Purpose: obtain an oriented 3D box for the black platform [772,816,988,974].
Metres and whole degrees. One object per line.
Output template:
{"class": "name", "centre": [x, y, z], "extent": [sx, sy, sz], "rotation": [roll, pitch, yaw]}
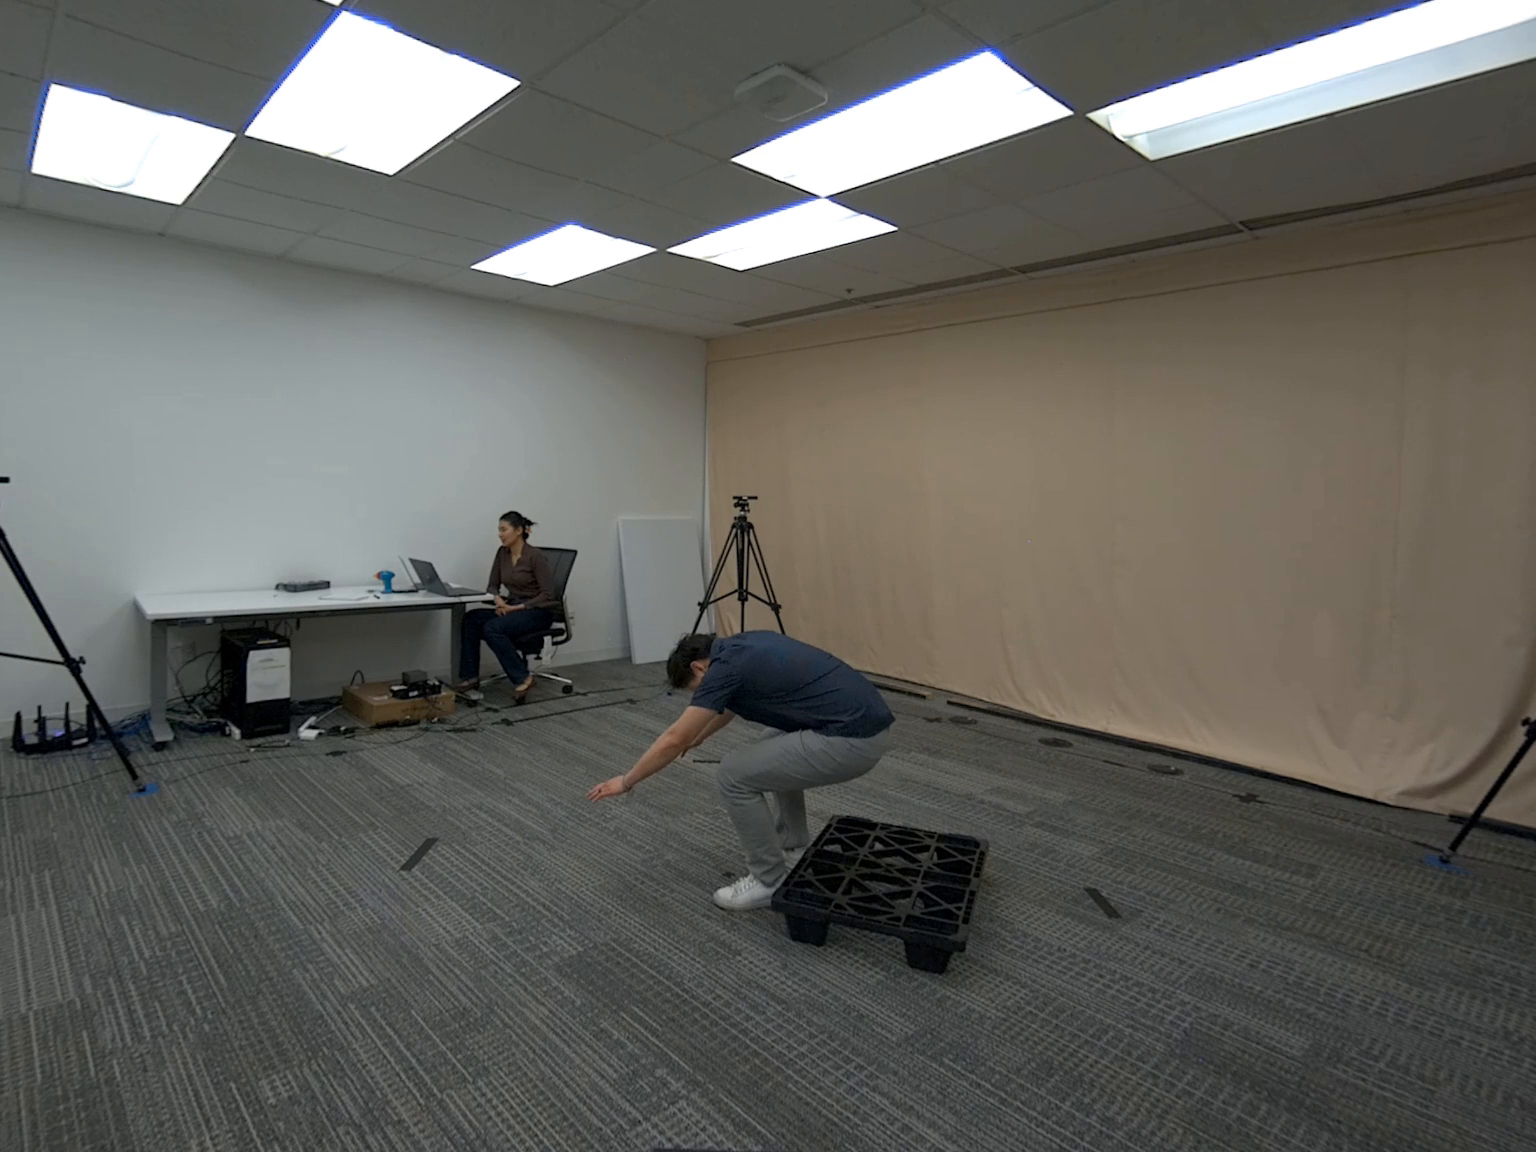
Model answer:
{"class": "black platform", "centre": [0.407, 1.070, 2.894], "extent": [0.615, 0.143, 0.795], "rotation": [3, 5, 20]}
